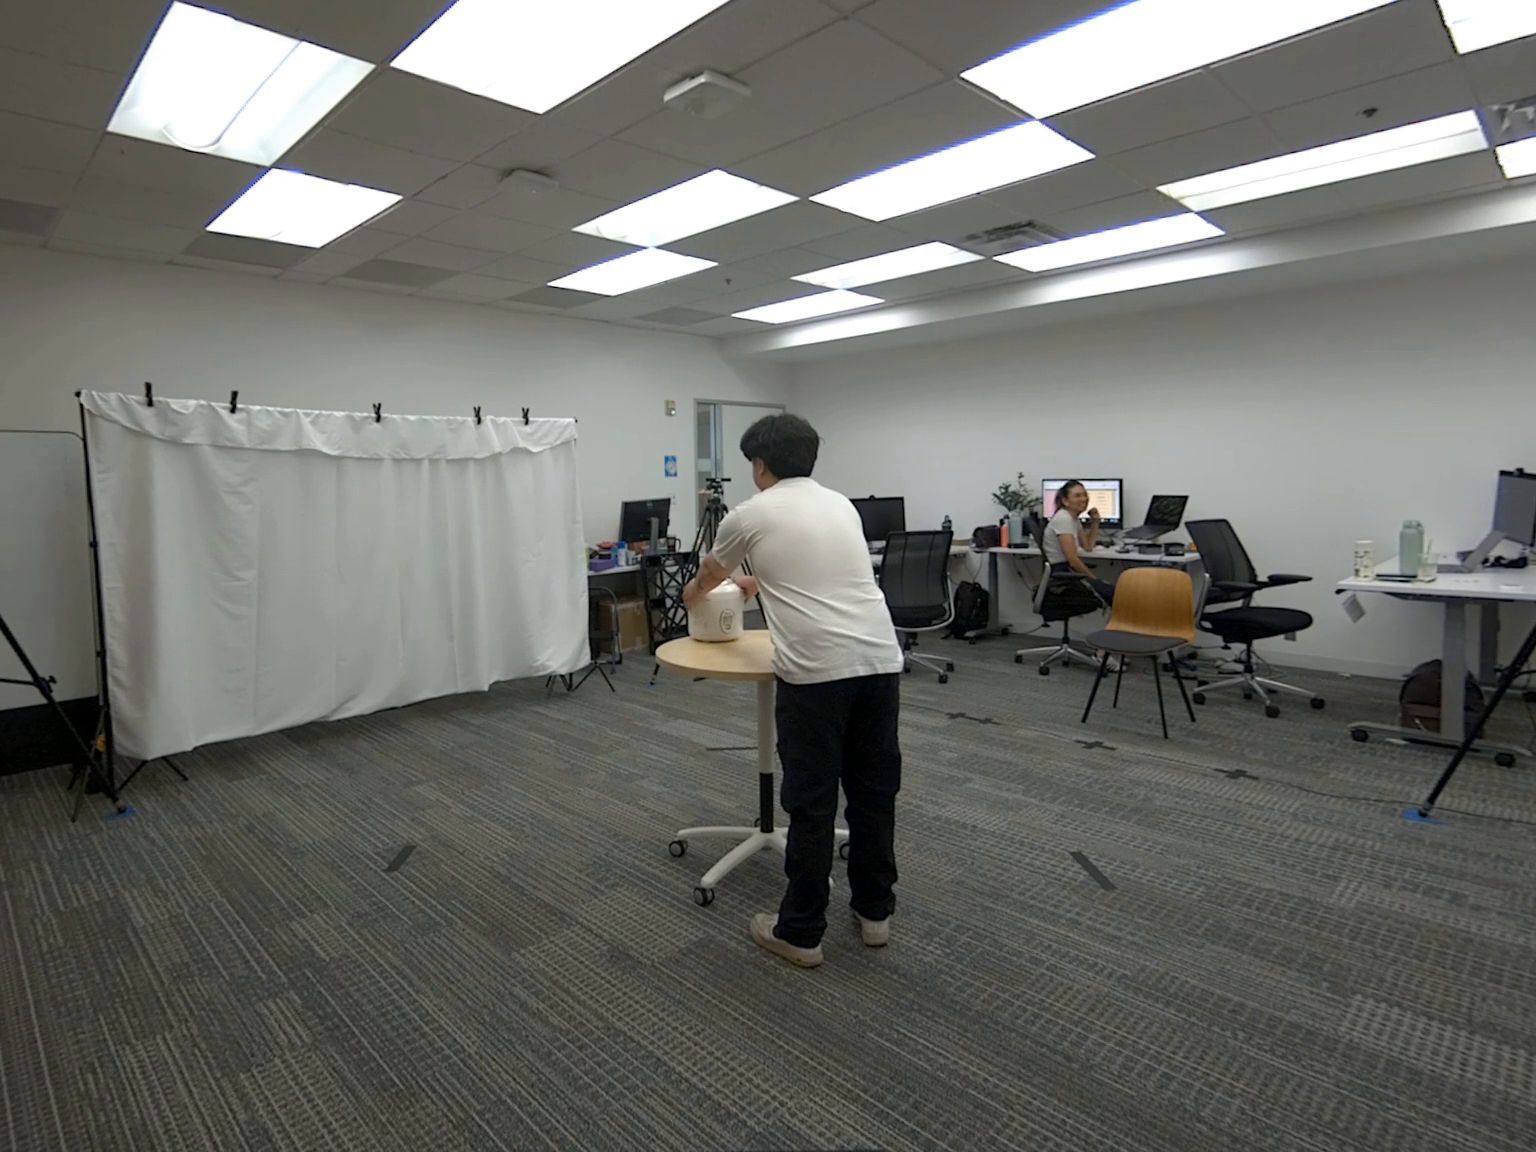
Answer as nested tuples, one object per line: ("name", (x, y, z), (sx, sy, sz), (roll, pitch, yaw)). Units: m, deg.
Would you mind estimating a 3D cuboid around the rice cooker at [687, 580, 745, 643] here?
("rice cooker", (-0.191, 0.121, 3.214), (0.216, 0.232, 0.223), (-5, 4, -26))
